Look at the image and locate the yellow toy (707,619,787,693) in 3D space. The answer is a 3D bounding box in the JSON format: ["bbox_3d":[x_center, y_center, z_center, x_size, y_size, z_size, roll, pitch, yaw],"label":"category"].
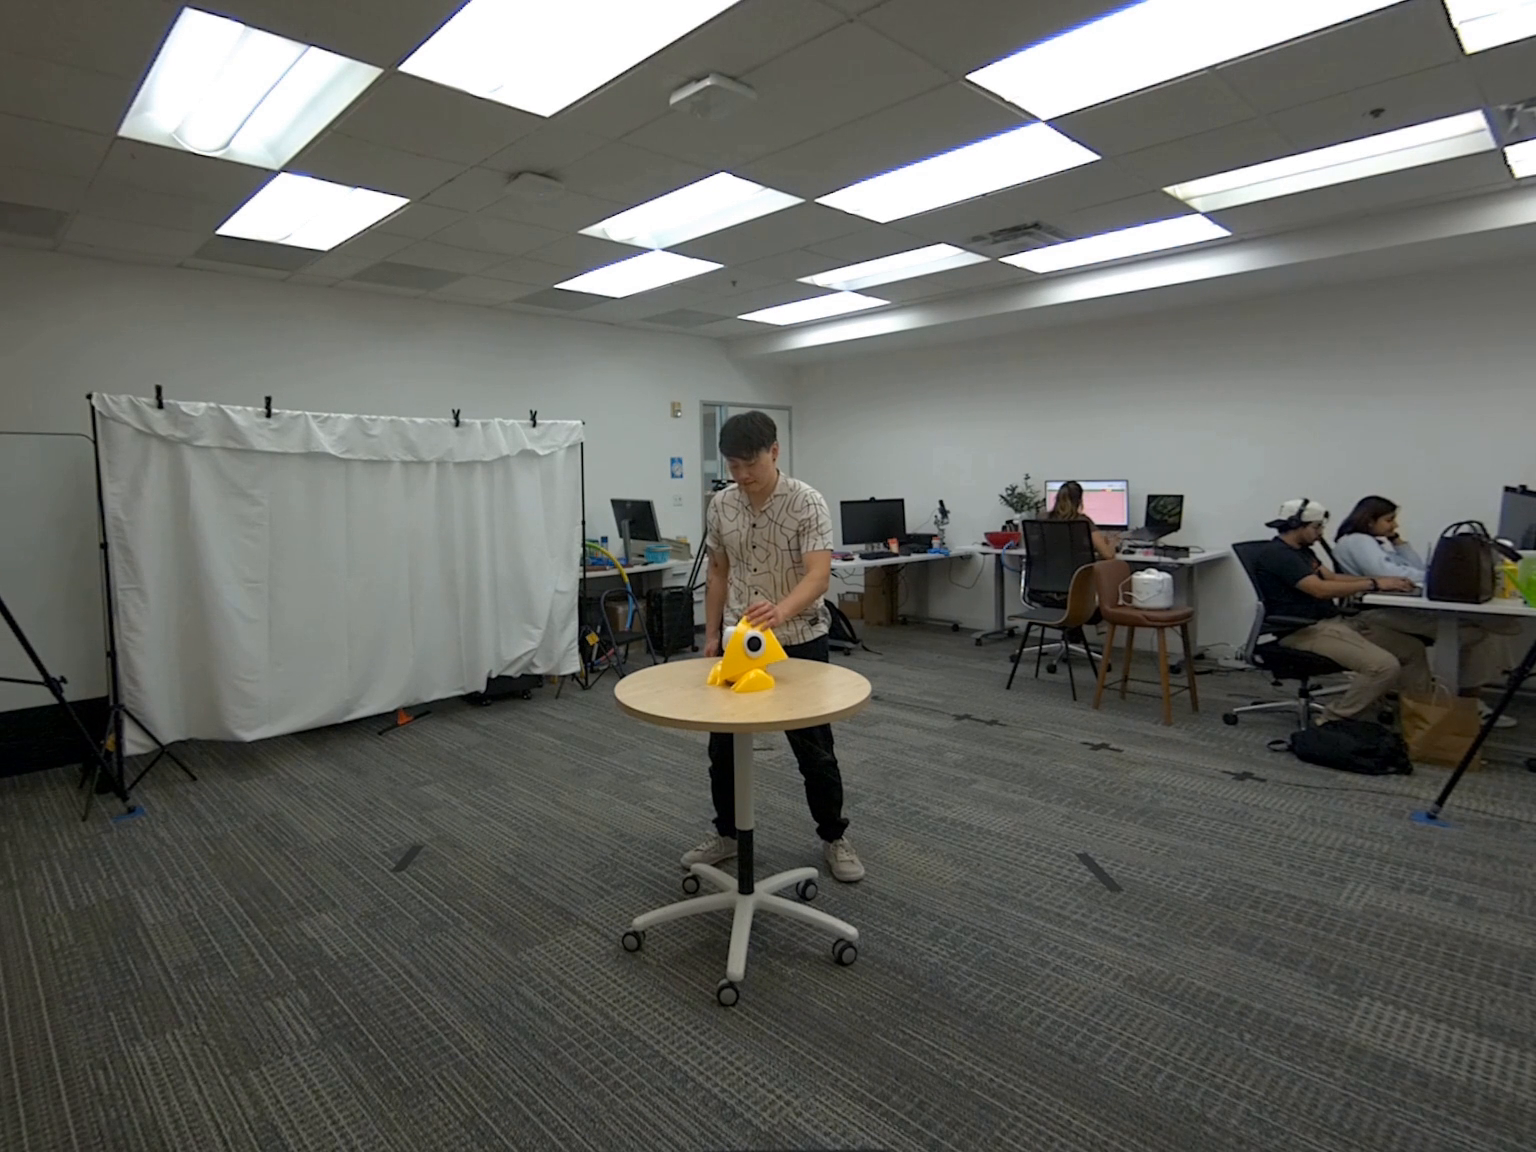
[{"bbox_3d":[-0.080,0.215,2.578,0.188,0.230,0.211,-6,7,-43],"label":"yellow toy"}]
